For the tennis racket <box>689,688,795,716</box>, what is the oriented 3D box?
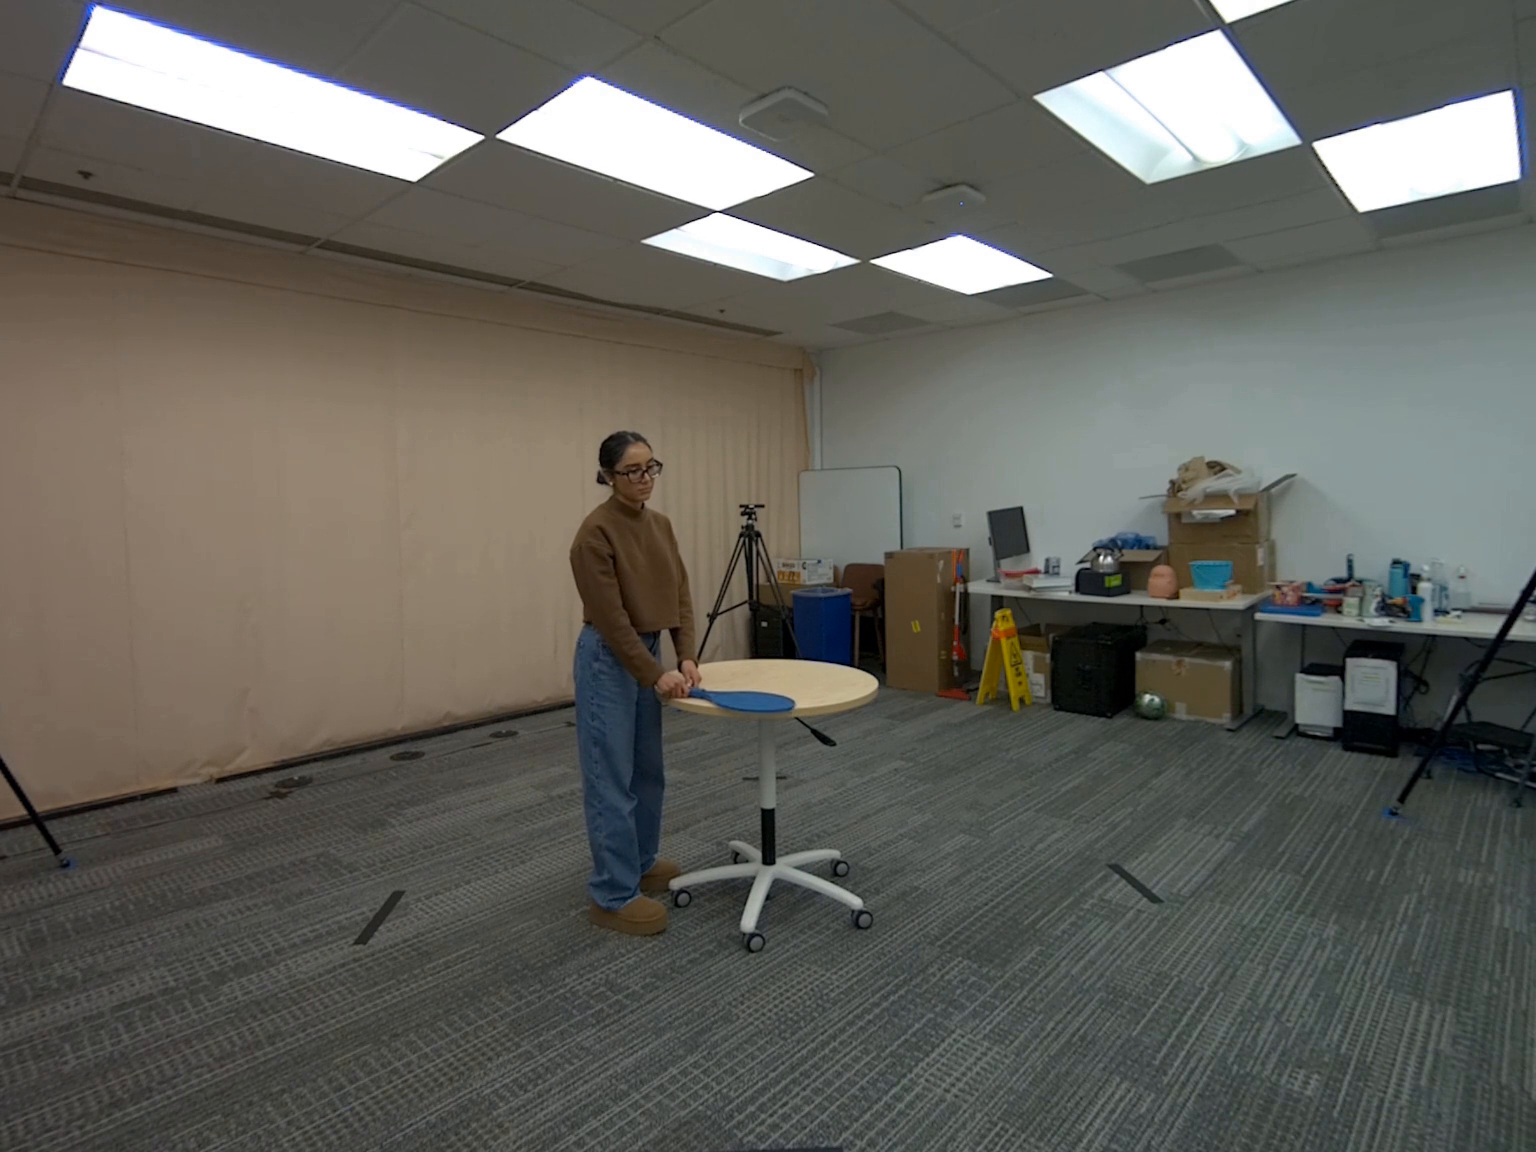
[{"bbox_3d":[-0.099,0.383,2.616,0.445,0.032,0.208,3,5,29],"label":"tennis racket"}]
